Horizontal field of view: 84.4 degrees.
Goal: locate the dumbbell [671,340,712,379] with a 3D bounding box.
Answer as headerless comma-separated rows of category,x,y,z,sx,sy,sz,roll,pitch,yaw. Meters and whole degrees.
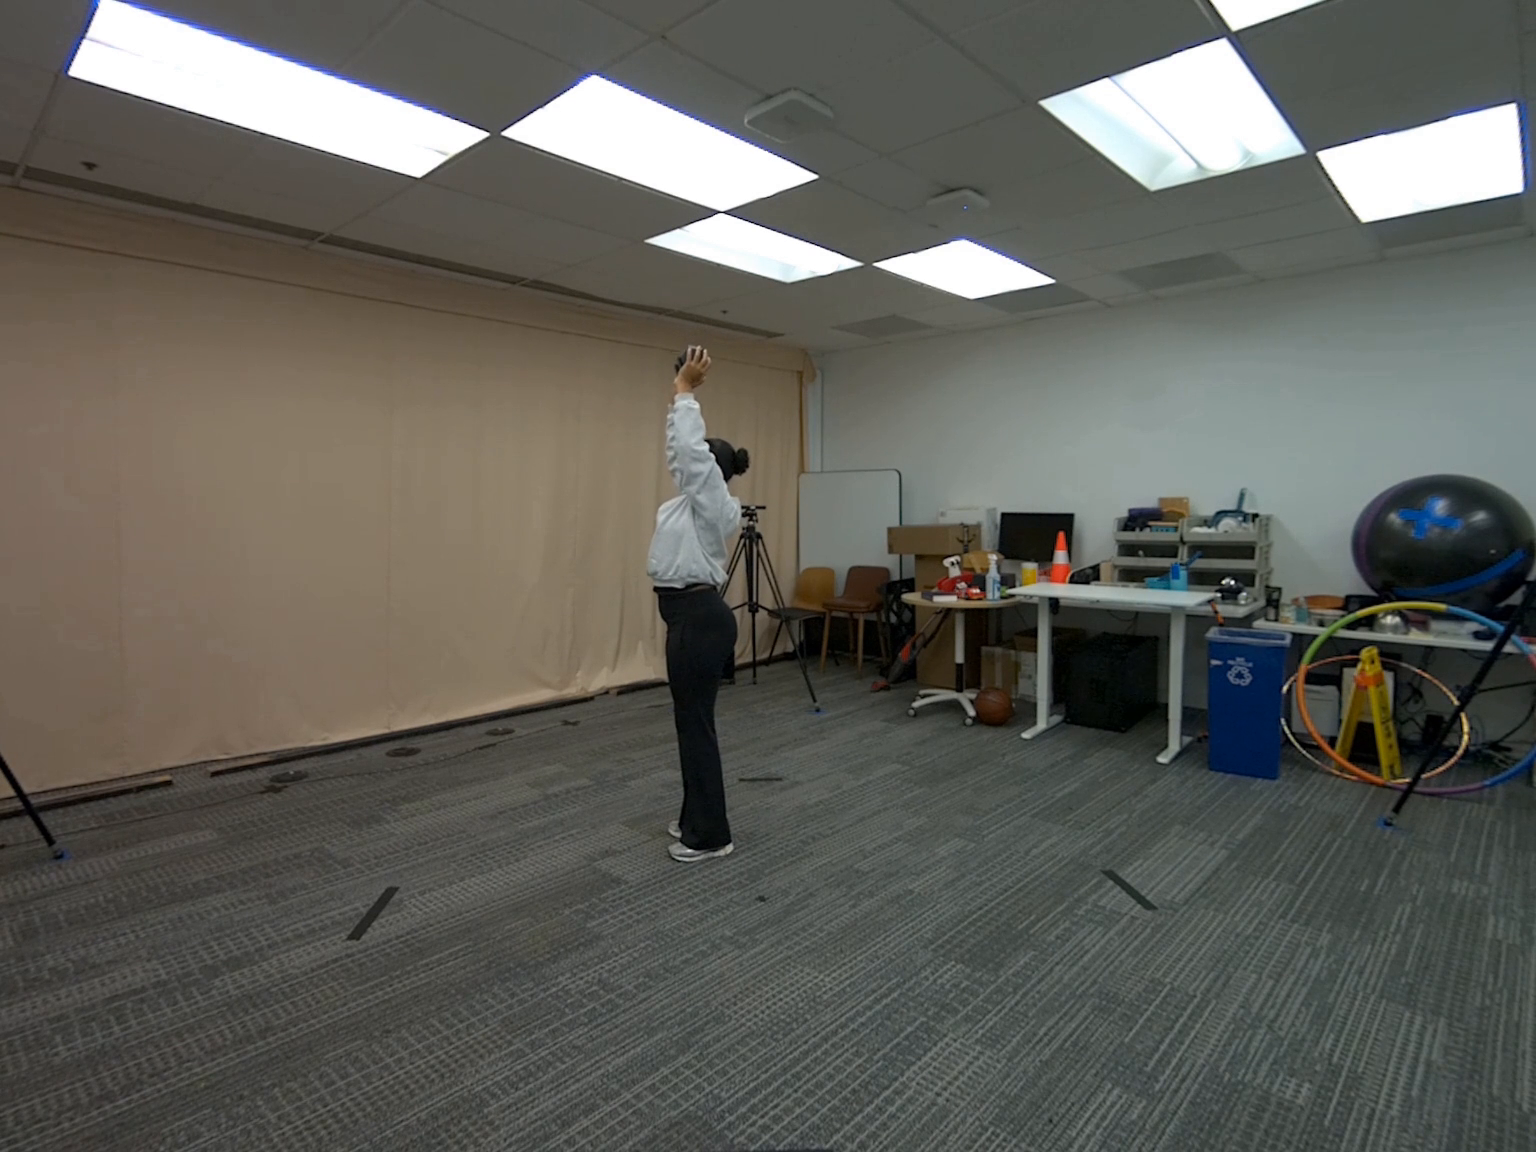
dumbbell,-0.313,-0.849,3.405,0.108,0.122,0.296,-25,9,-3
